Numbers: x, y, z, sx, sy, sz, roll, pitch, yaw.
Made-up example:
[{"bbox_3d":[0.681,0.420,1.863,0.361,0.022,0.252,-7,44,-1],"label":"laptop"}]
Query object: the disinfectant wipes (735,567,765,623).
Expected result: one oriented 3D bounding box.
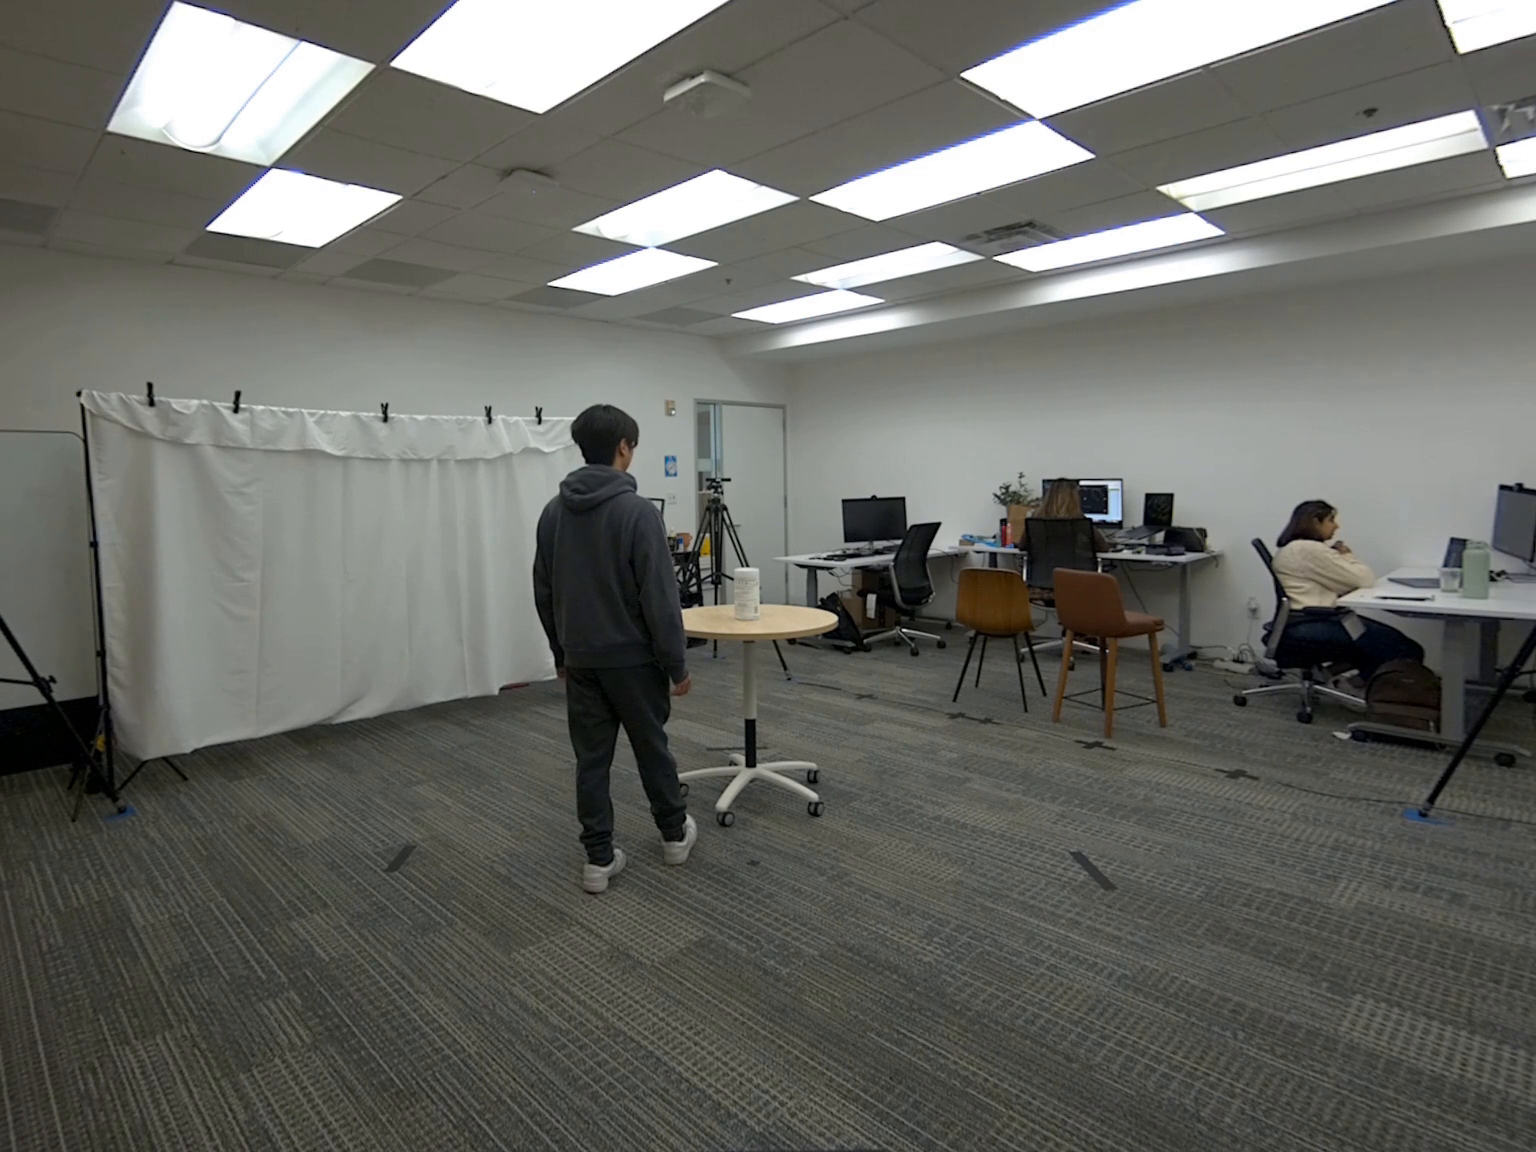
[{"bbox_3d":[-0.081,0.077,3.657,0.118,0.217,0.118,0,4,-2],"label":"disinfectant wipes"}]
